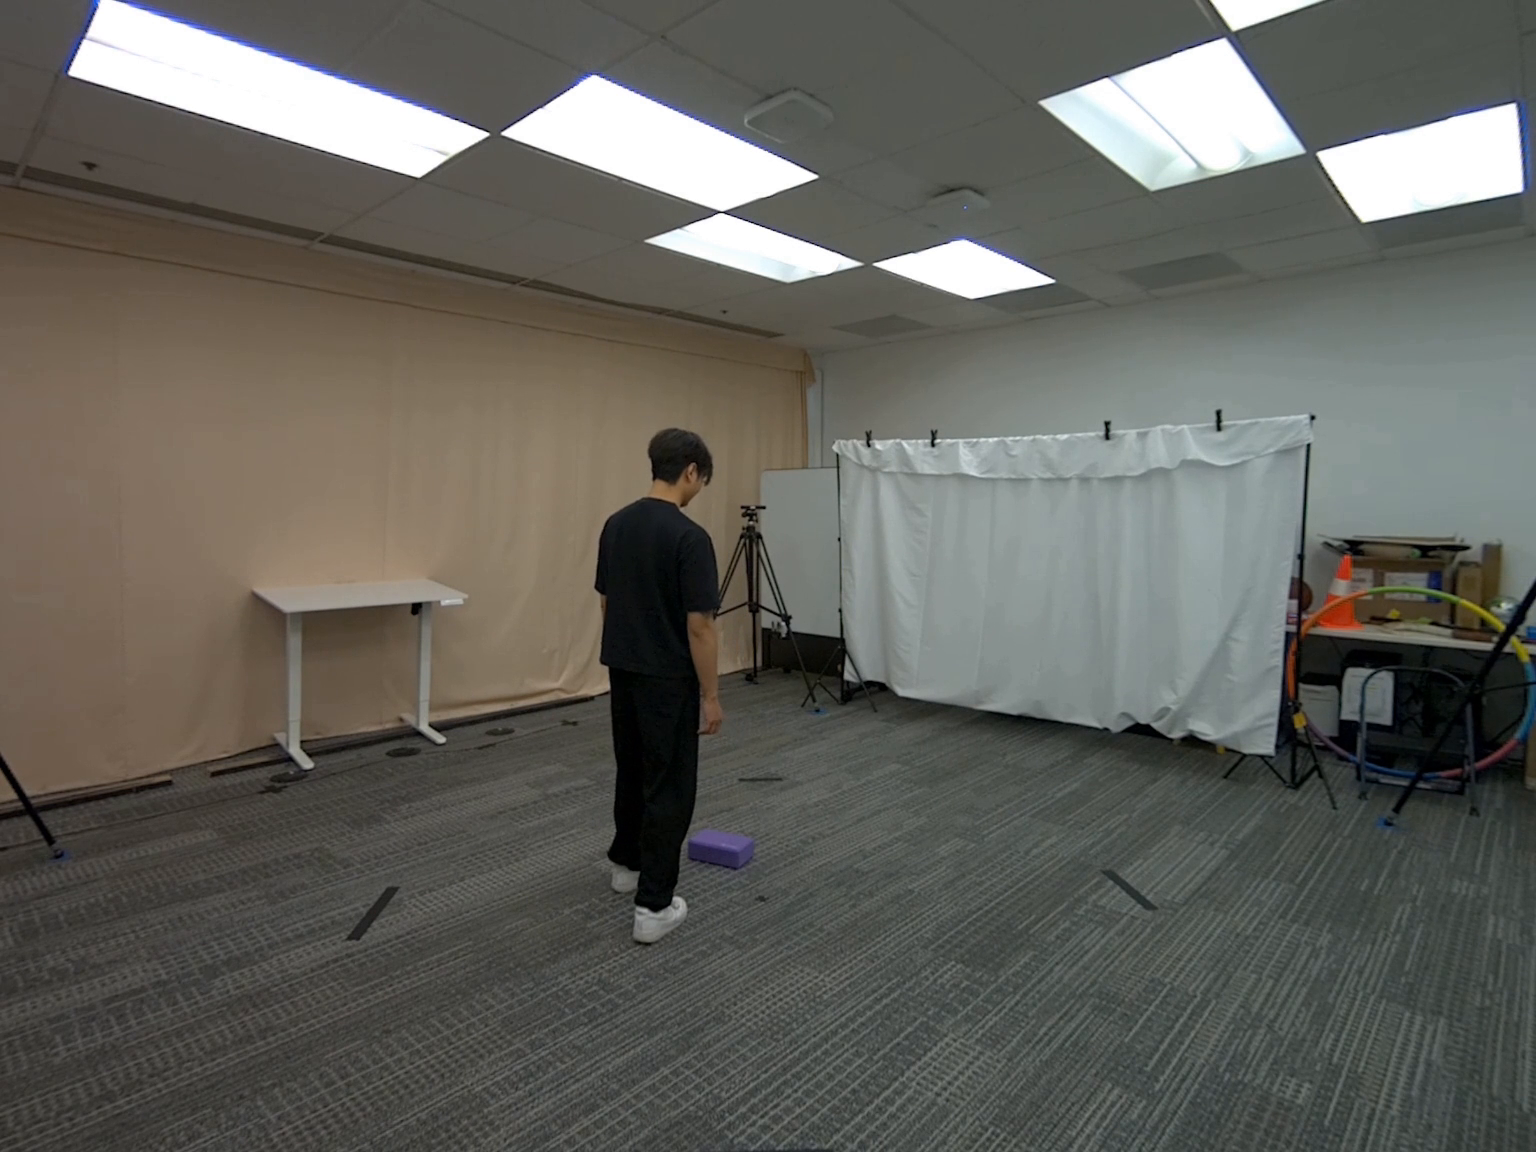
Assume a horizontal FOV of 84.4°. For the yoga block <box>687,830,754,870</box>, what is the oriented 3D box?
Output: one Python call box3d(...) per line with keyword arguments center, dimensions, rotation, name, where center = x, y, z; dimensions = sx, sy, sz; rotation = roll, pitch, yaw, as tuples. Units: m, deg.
box3d(center=(-0.184, 1.076, 3.326), dimensions=(0.235, 0.076, 0.145), rotation=(1, 5, 27), name="yoga block")
